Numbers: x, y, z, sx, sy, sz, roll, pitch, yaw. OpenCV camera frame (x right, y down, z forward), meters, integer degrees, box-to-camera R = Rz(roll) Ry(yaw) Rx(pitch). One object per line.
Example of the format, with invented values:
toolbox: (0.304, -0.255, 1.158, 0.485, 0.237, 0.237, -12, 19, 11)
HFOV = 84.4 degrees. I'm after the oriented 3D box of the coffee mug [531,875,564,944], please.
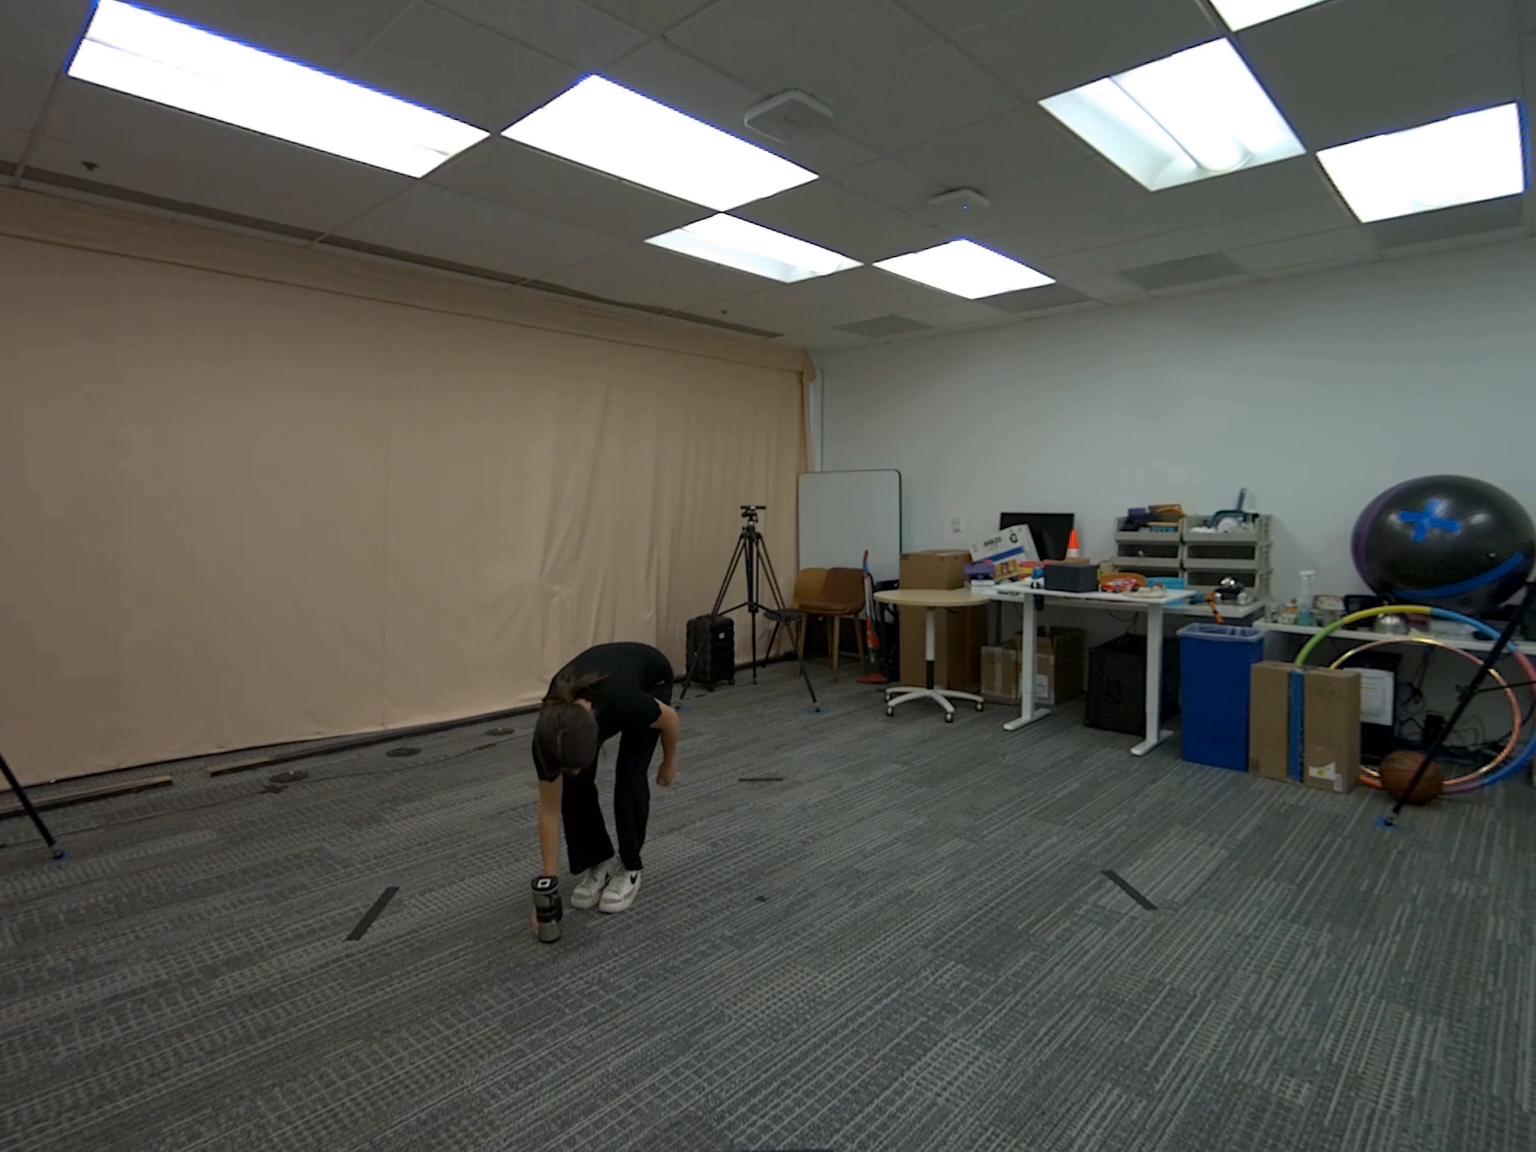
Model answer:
coffee mug: (-0.699, 1.059, 2.682, 0.086, 0.202, 0.125, -7, 8, -21)
